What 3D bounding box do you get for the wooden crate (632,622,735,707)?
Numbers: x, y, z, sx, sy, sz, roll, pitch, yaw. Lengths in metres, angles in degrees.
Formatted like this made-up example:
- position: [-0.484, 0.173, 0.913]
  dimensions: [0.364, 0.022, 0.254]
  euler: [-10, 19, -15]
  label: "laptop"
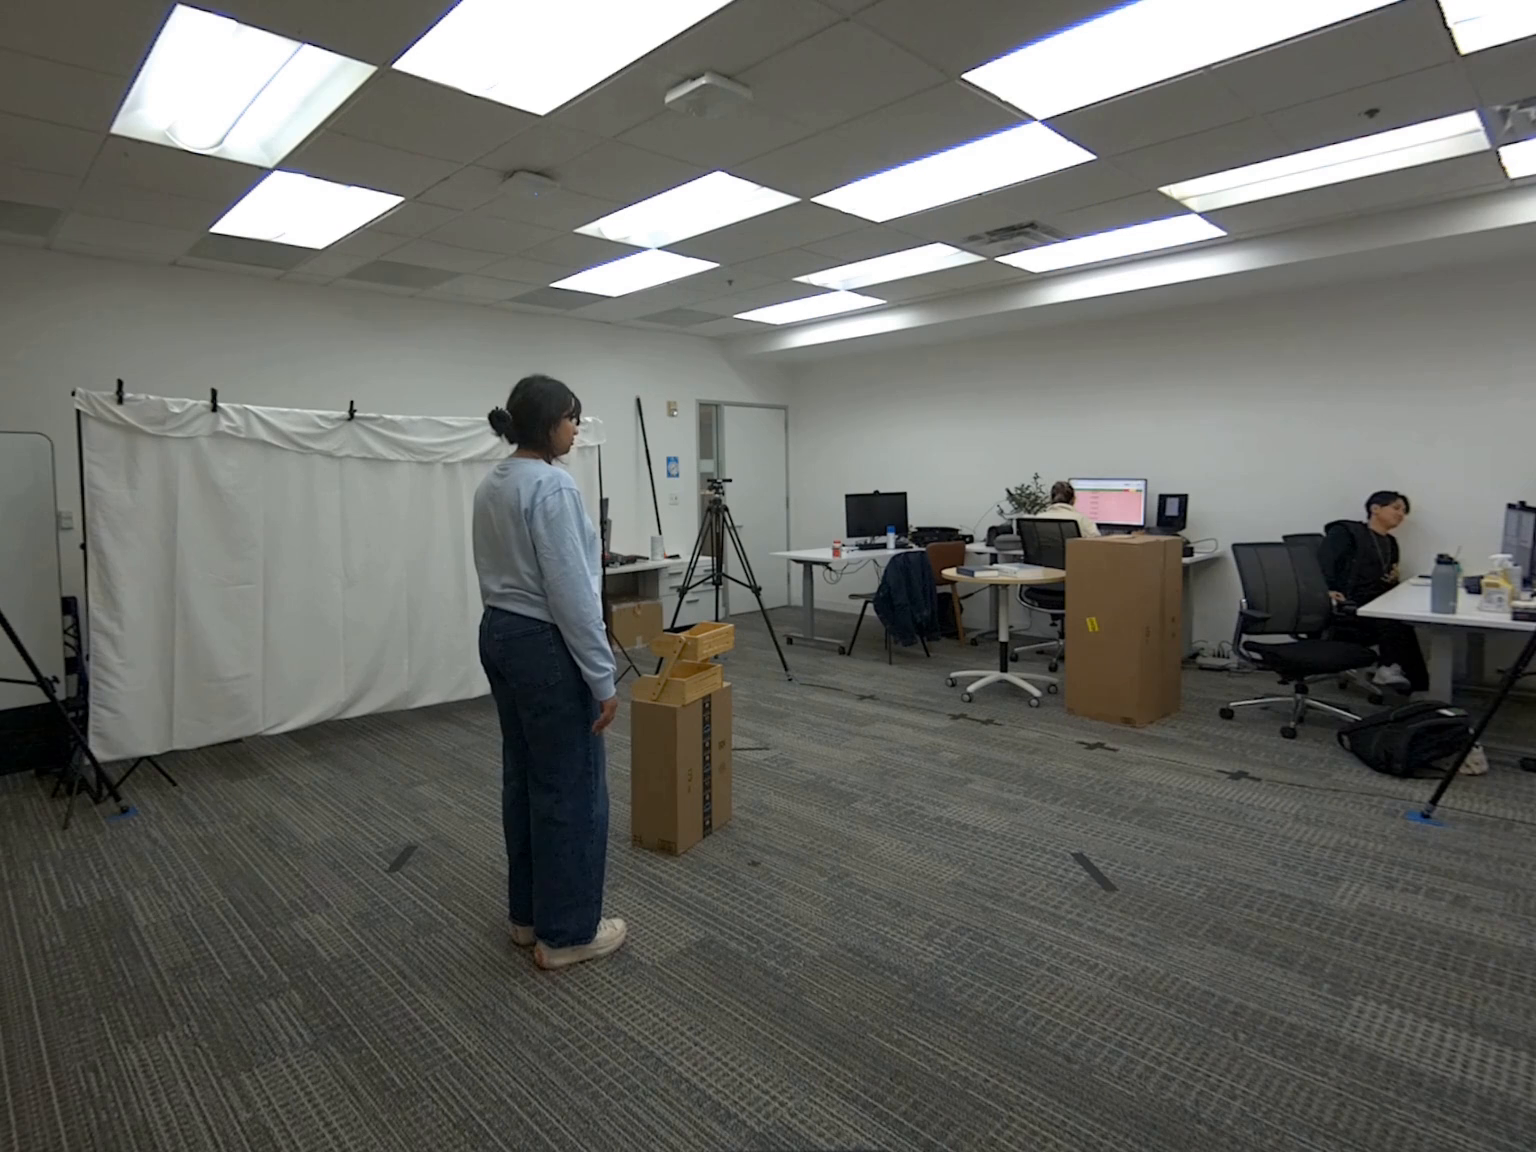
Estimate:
- position: [-0.339, 0.327, 3.339]
  dimensions: [0.309, 0.272, 0.318]
  euler: [3, 6, 25]
  label: "wooden crate"
